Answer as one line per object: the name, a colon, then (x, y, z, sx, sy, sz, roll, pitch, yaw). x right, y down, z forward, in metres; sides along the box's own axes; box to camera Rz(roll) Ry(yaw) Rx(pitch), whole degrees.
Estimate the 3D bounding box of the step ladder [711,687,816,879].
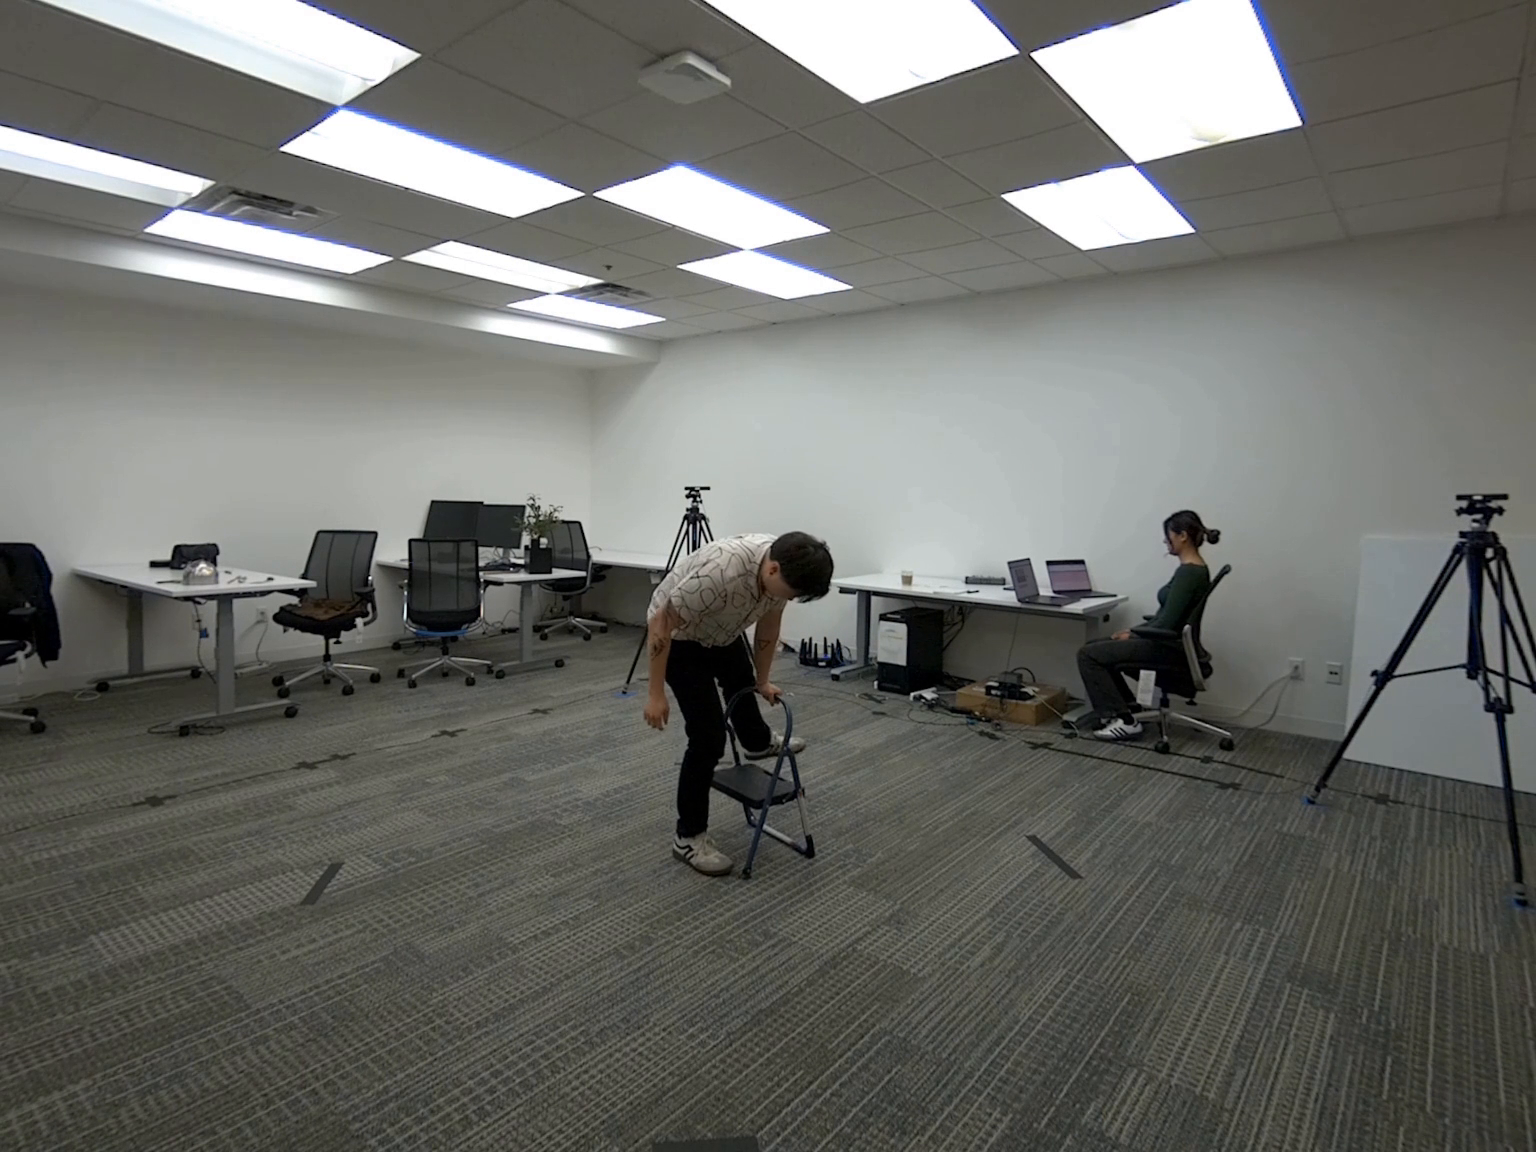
step ladder: (-0.079, 0.748, 3.273, 0.339, 0.604, 0.445, -2, 4, -37)
